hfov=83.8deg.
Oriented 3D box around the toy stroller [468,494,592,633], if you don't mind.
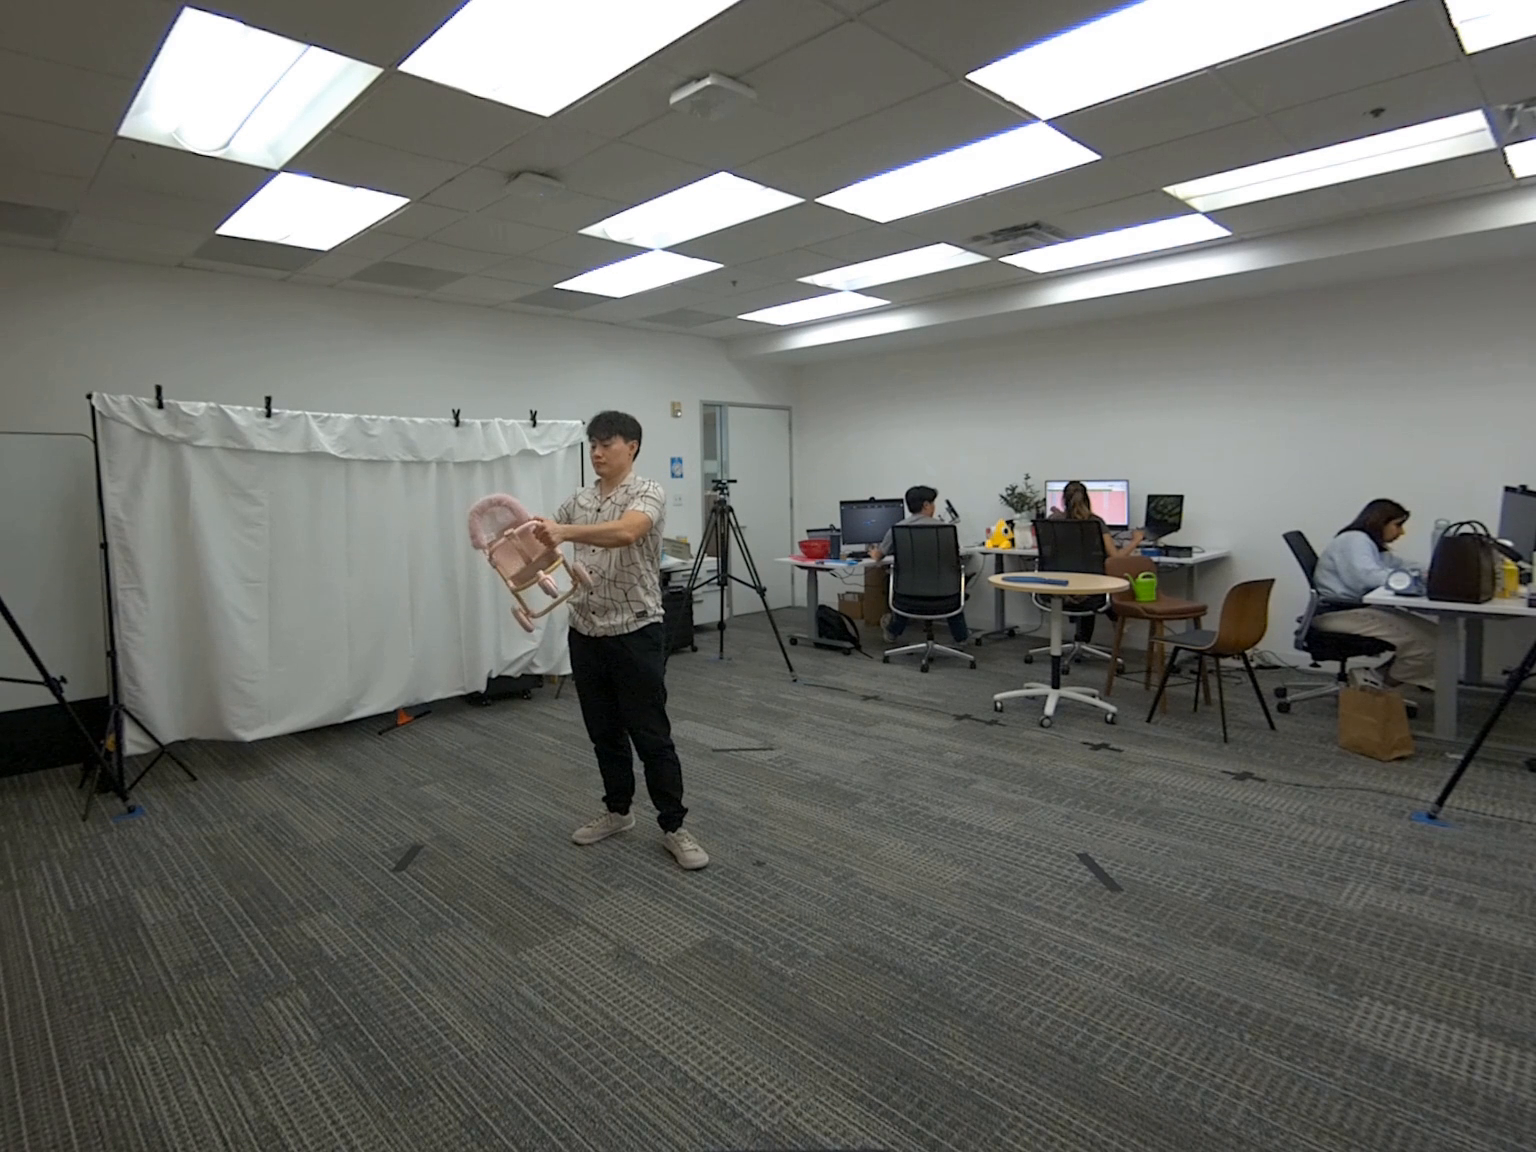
[{"bbox_3d":[-0.838,-0.073,2.884,0.280,0.549,0.333,-36,-21,-12],"label":"toy stroller"}]
